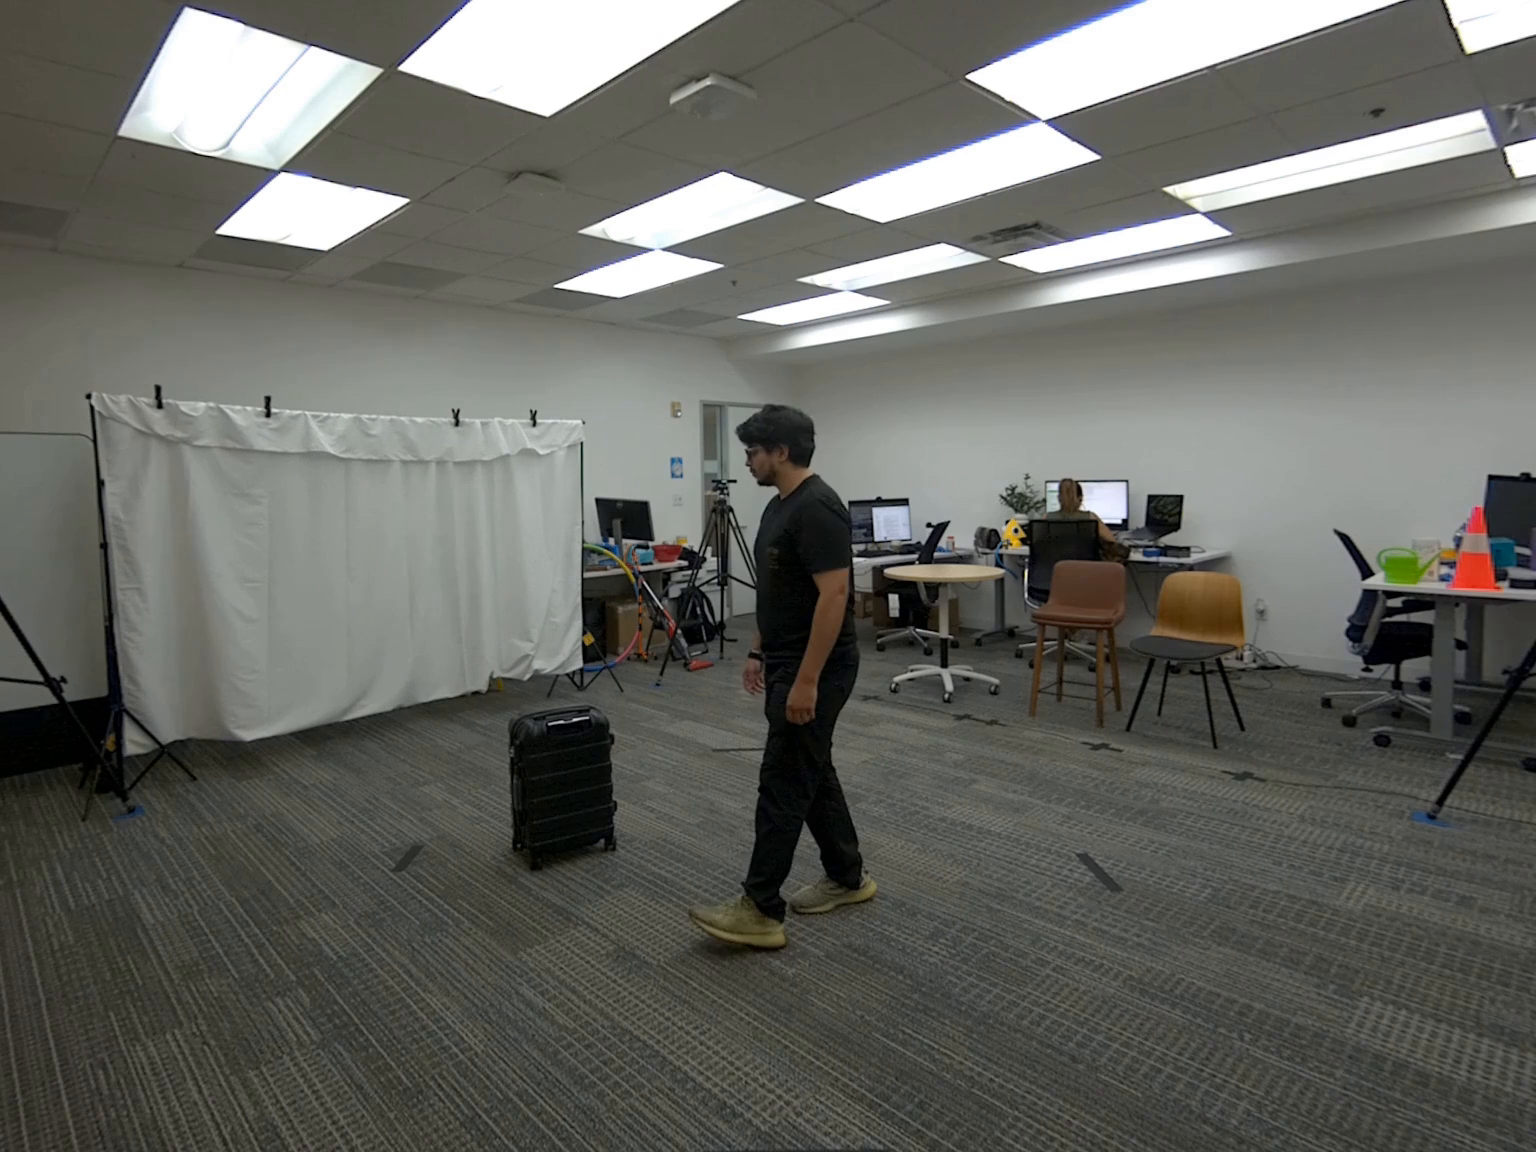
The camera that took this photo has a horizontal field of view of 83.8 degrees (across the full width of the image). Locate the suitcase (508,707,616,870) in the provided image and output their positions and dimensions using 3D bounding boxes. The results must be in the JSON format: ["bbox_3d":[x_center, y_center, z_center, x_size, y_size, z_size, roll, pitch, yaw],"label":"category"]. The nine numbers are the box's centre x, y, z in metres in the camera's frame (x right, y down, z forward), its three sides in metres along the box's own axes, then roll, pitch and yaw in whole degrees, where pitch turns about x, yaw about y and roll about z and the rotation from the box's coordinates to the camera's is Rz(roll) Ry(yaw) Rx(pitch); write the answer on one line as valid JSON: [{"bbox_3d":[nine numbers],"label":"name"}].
[{"bbox_3d":[-0.787,0.771,3.236,0.366,0.547,0.255,-5,6,-31],"label":"suitcase"}]
